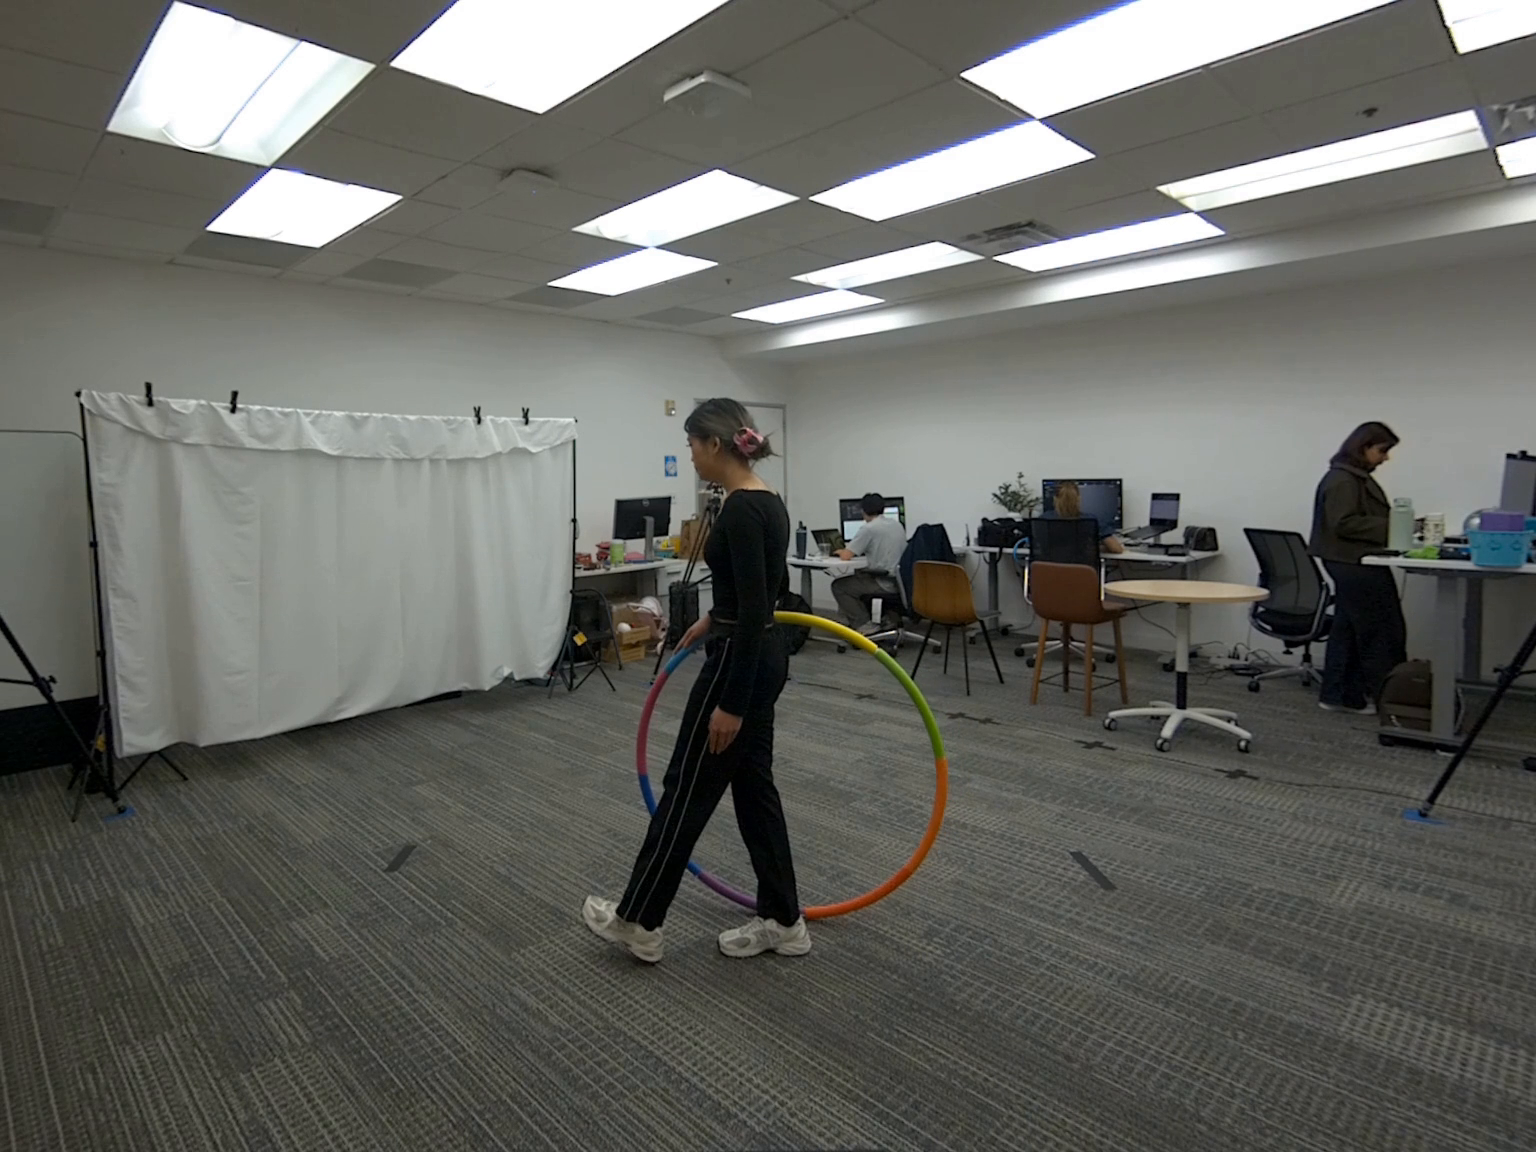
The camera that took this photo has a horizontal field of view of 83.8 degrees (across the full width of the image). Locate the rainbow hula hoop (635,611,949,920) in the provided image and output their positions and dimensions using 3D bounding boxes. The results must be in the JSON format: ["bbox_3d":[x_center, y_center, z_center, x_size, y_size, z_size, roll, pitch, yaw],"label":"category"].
[{"bbox_3d":[0.054,0.605,2.693,0.993,0.976,0.035,0,3,15],"label":"rainbow hula hoop"}]
